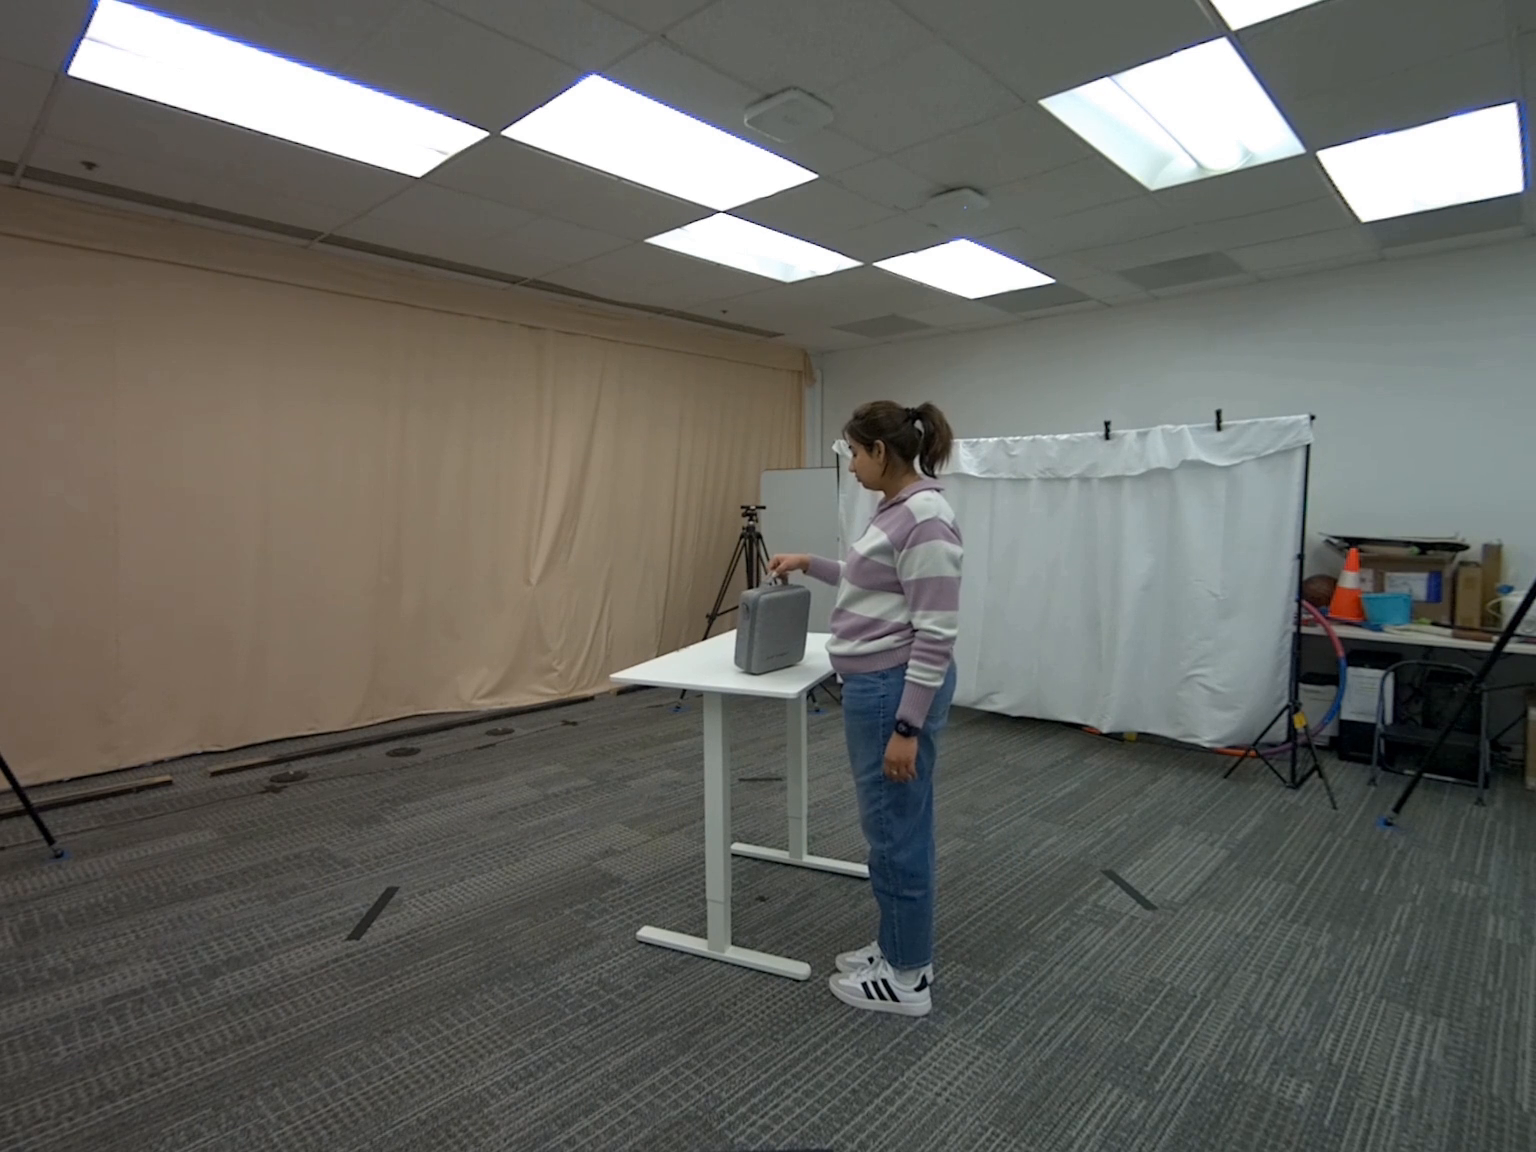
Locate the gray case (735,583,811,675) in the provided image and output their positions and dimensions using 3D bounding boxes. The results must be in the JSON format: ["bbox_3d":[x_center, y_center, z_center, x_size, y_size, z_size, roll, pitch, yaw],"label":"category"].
[{"bbox_3d":[0.020,0.156,2.616,0.108,0.259,0.249,14,13,41],"label":"gray case"}]
